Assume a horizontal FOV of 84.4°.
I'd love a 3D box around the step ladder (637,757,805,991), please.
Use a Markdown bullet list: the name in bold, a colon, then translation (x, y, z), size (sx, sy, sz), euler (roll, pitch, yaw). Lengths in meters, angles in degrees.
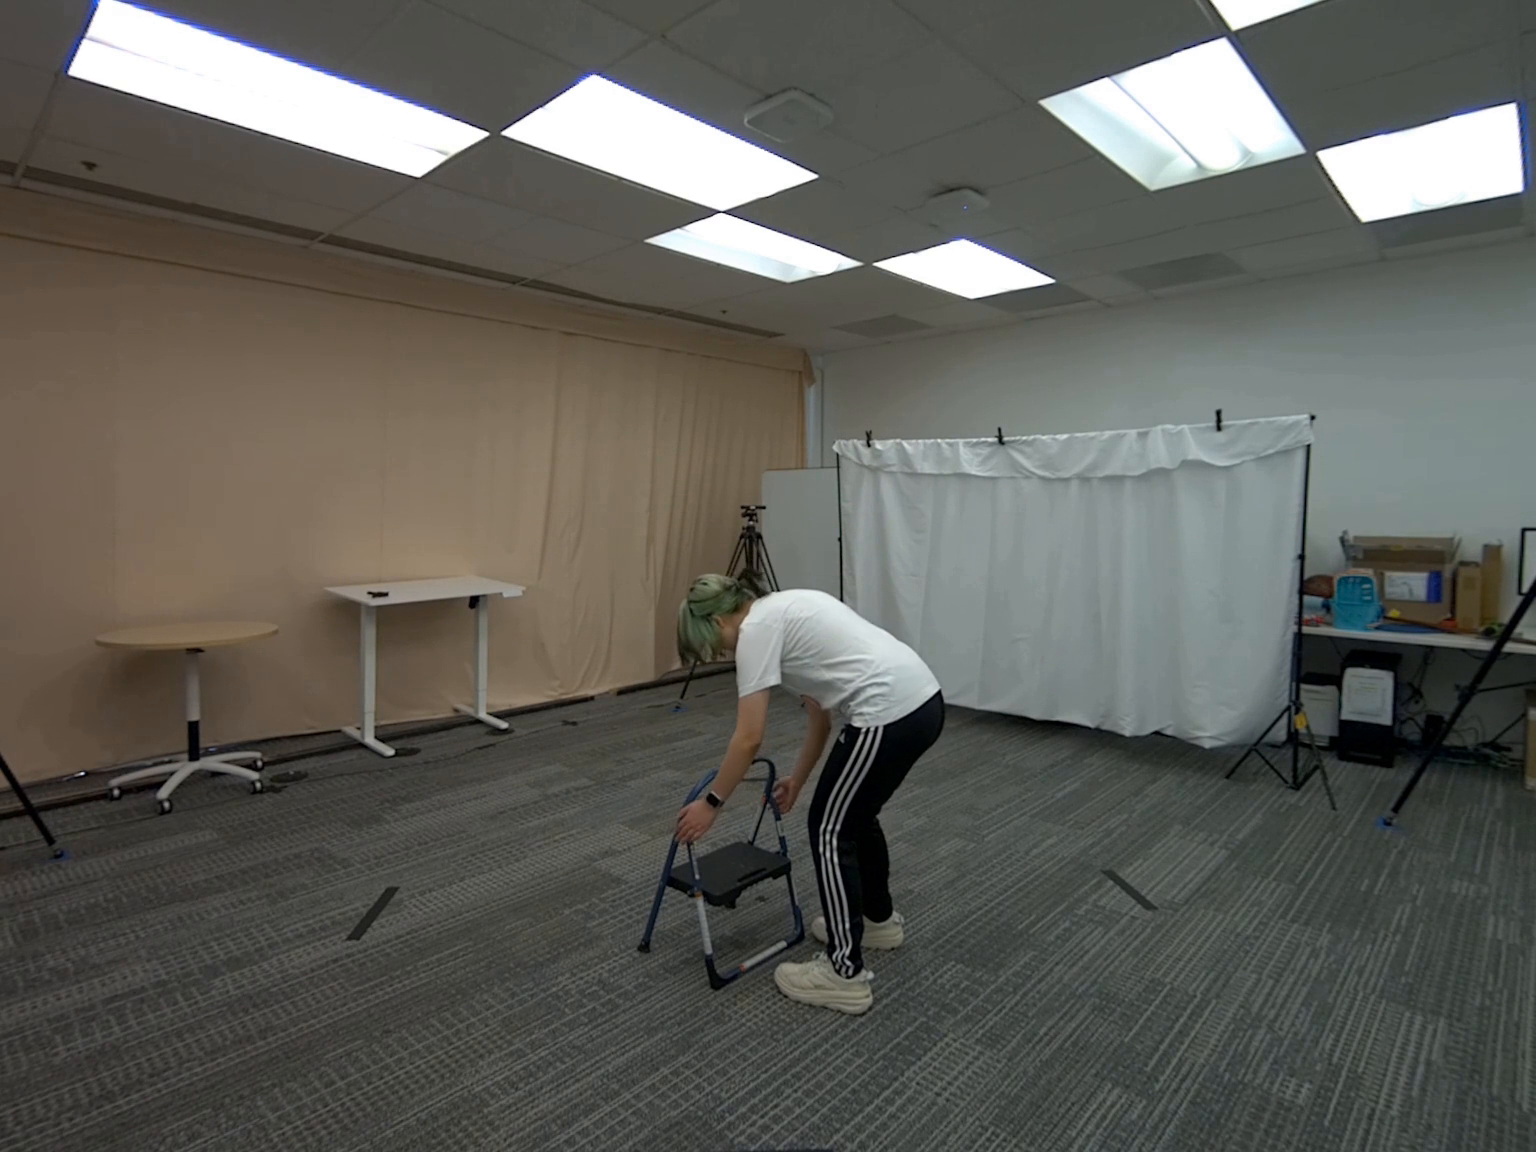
- **step ladder**: translation (-0.143, 0.870, 2.665), size (0.361, 0.605, 0.417), euler (2, 4, 42)
